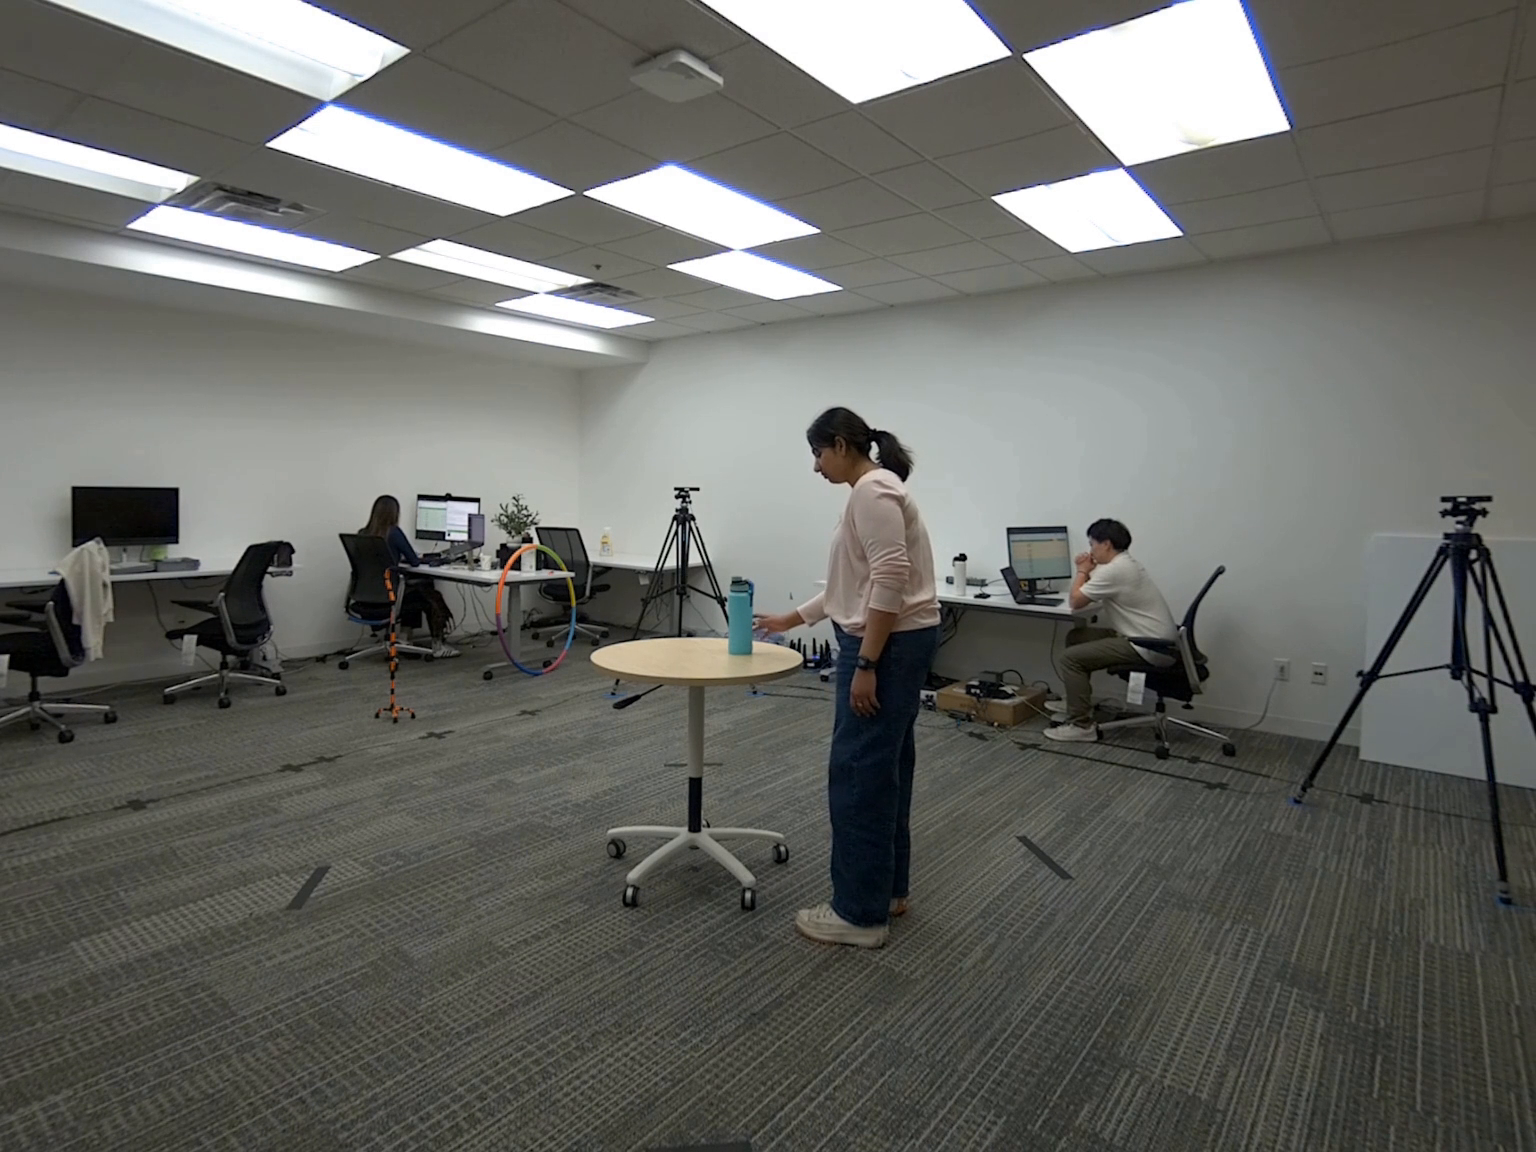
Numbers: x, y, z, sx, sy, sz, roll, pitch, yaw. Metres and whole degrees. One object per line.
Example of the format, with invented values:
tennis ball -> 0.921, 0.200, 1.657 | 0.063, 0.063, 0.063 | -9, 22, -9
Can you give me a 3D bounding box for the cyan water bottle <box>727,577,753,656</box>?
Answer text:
cyan water bottle -> -0.106, 0.142, 3.132 | 0.092, 0.283, 0.092 | 1, 1, -2
